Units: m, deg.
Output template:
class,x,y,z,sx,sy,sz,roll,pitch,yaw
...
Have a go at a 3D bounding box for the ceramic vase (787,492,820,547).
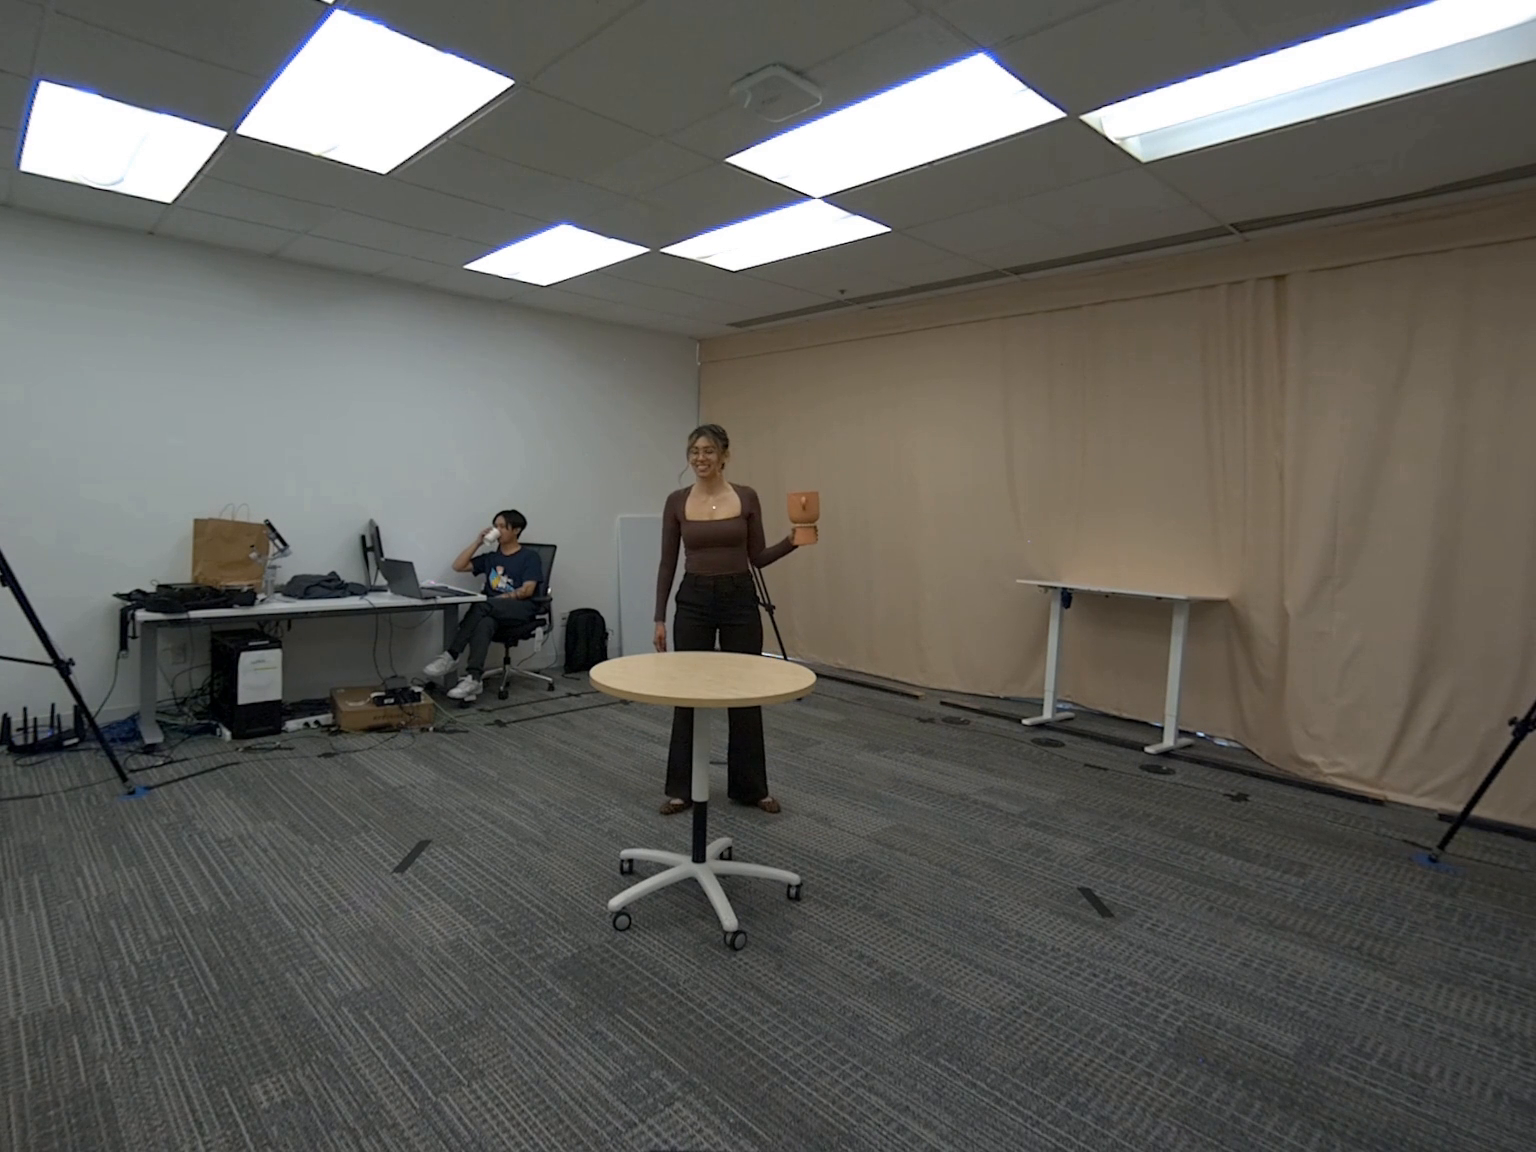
class,x,y,z,sx,sy,sz,roll,pitch,yaw
ceramic vase,0.138,-0.246,3.535,0.138,0.219,0.155,1,6,44
